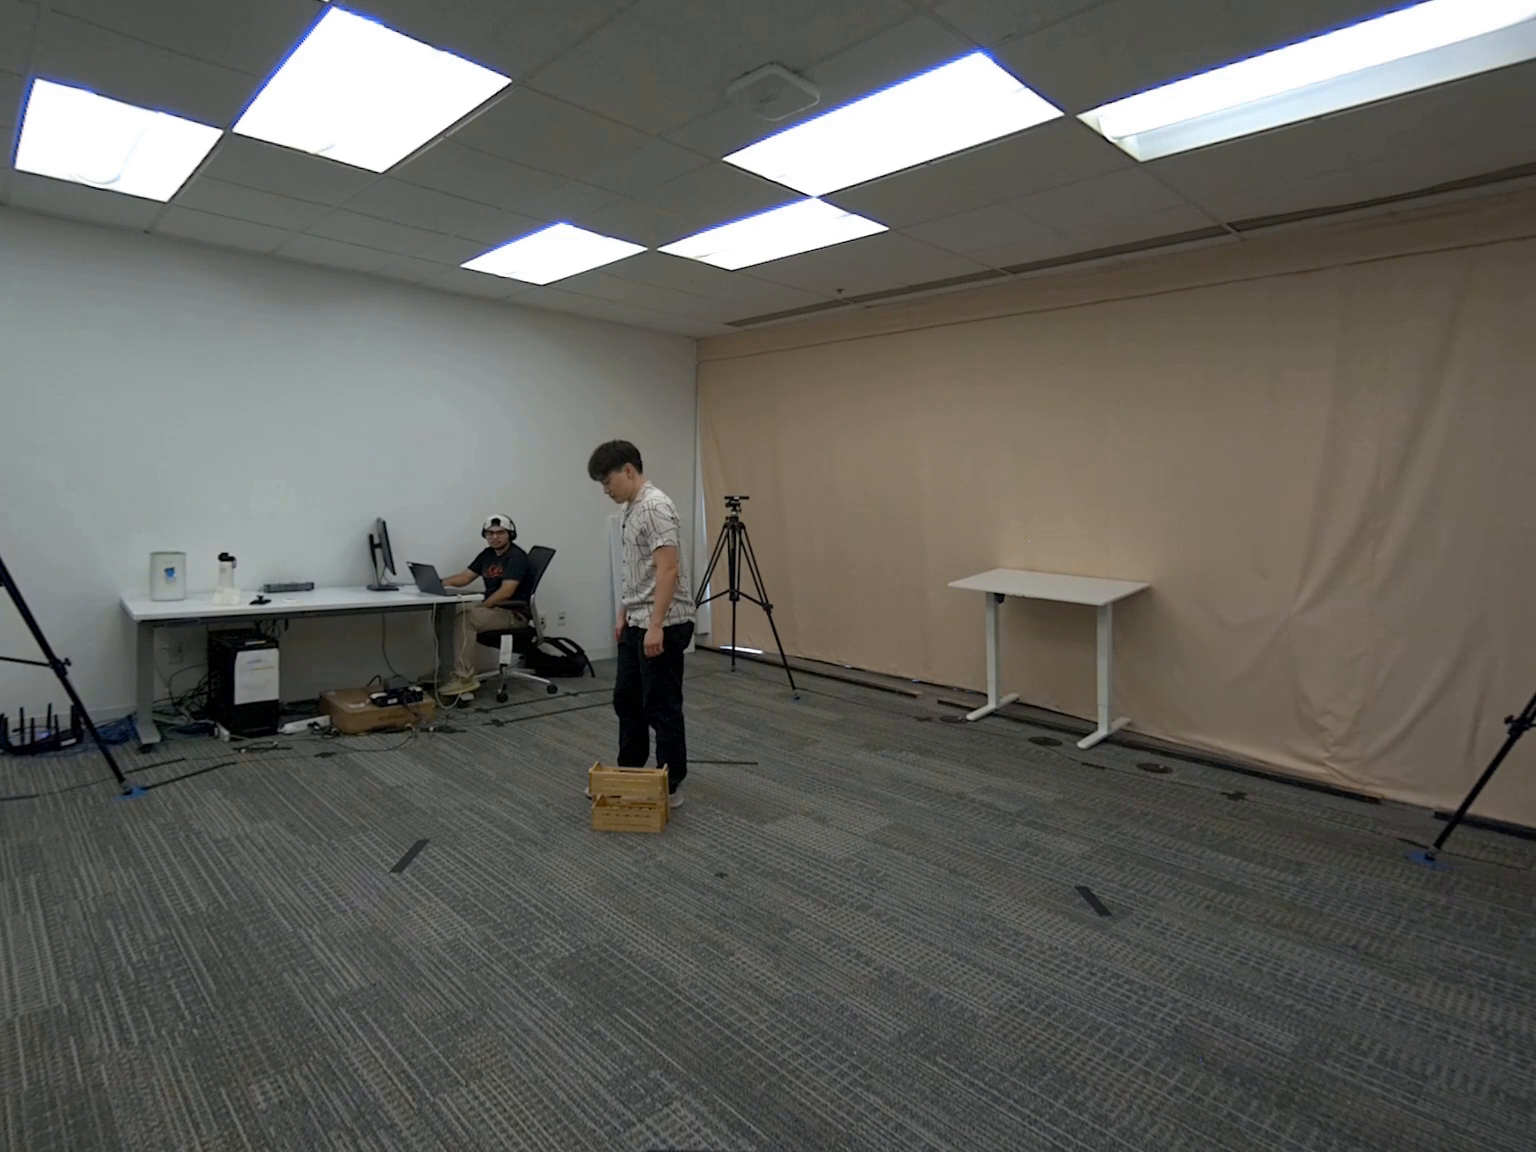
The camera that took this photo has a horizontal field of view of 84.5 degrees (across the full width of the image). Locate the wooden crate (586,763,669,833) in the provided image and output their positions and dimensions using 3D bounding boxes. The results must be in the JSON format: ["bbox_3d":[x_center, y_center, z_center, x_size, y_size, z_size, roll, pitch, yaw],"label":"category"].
[{"bbox_3d":[-0.604,0.921,3.591,0.325,0.272,0.303,2,5,0],"label":"wooden crate"}]
